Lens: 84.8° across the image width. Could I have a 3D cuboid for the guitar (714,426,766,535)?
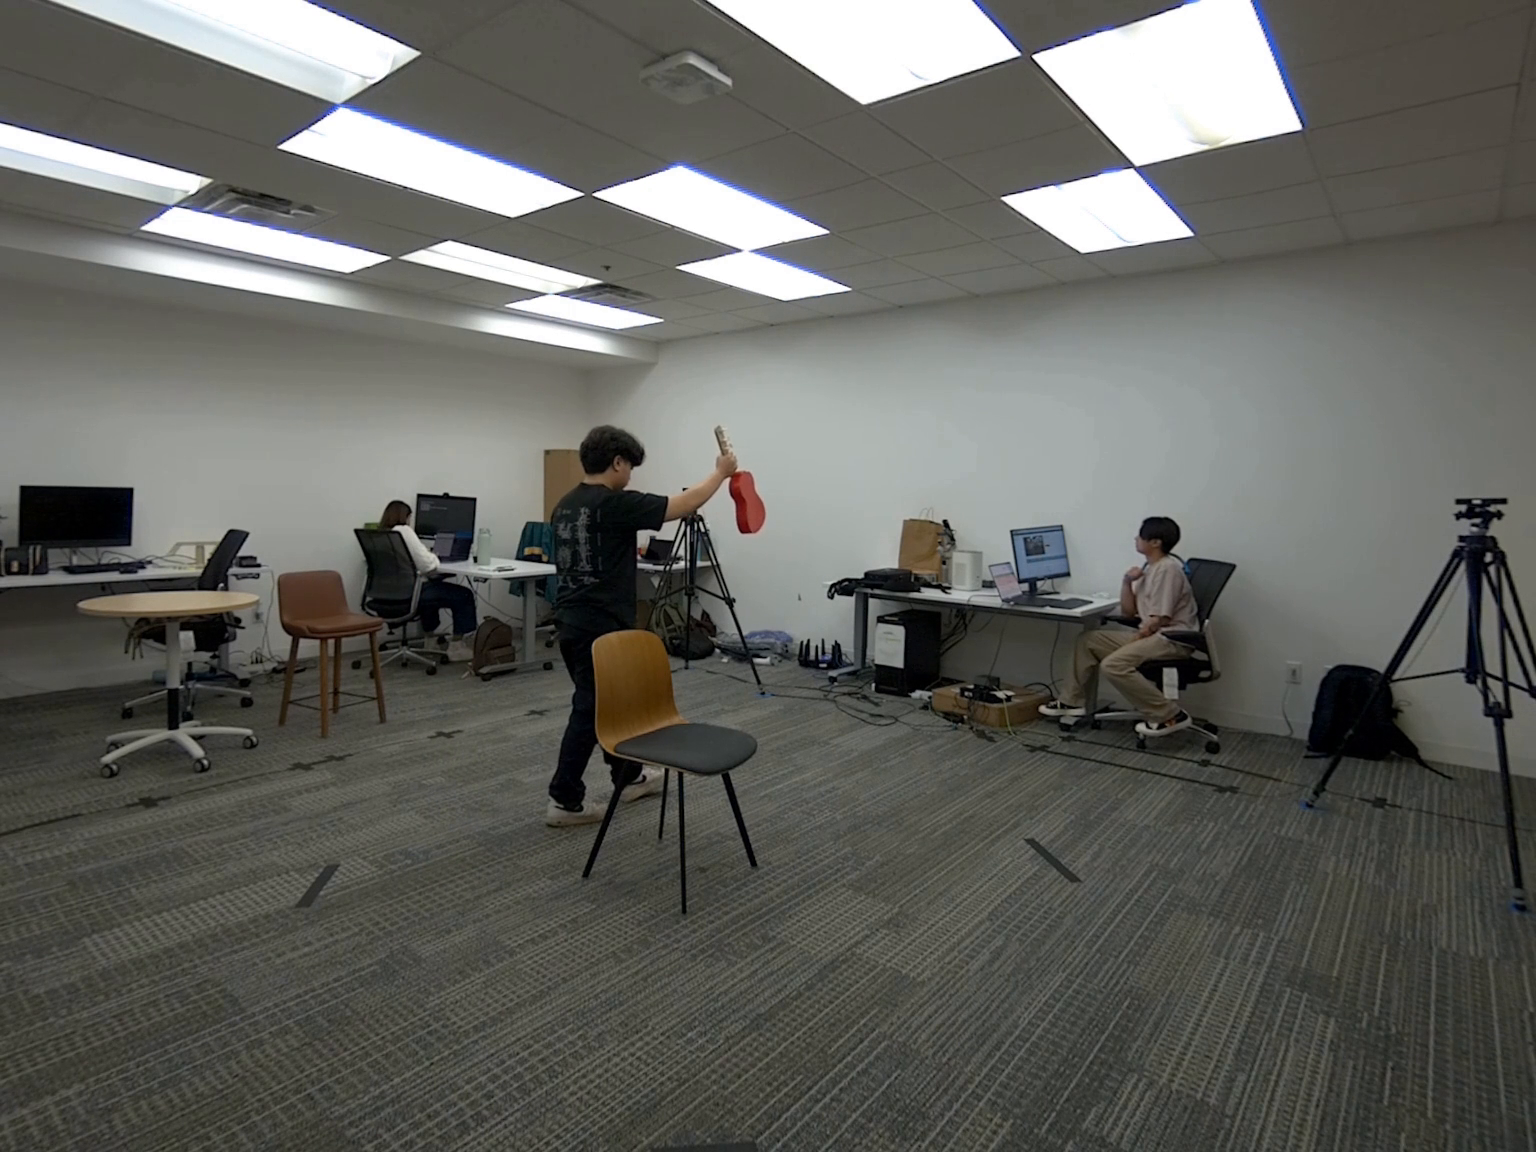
[{"bbox_3d":[-0.147,-0.412,3.697,0.072,0.482,0.195,-8,32,24],"label":"guitar"}]
